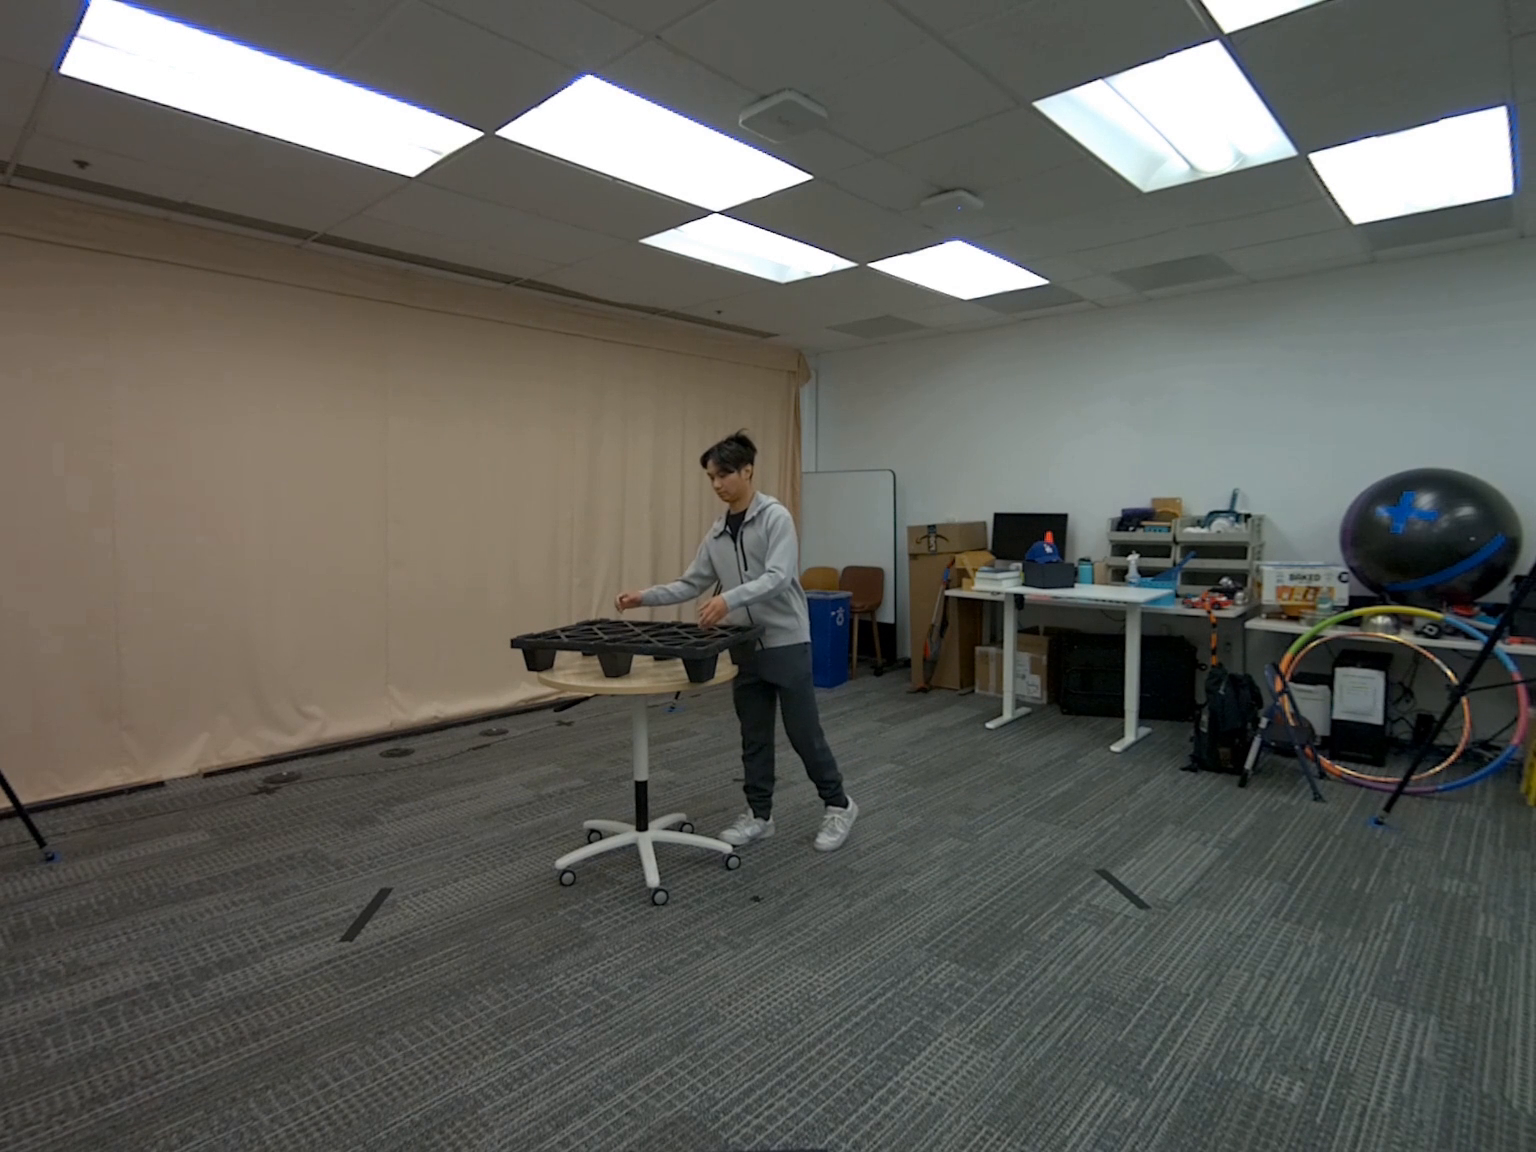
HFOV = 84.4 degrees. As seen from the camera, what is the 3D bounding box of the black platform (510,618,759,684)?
[{"bbox_3d":[-0.483,0.276,3.232,0.825,0.143,0.592,1,4,23],"label":"black platform"}]
